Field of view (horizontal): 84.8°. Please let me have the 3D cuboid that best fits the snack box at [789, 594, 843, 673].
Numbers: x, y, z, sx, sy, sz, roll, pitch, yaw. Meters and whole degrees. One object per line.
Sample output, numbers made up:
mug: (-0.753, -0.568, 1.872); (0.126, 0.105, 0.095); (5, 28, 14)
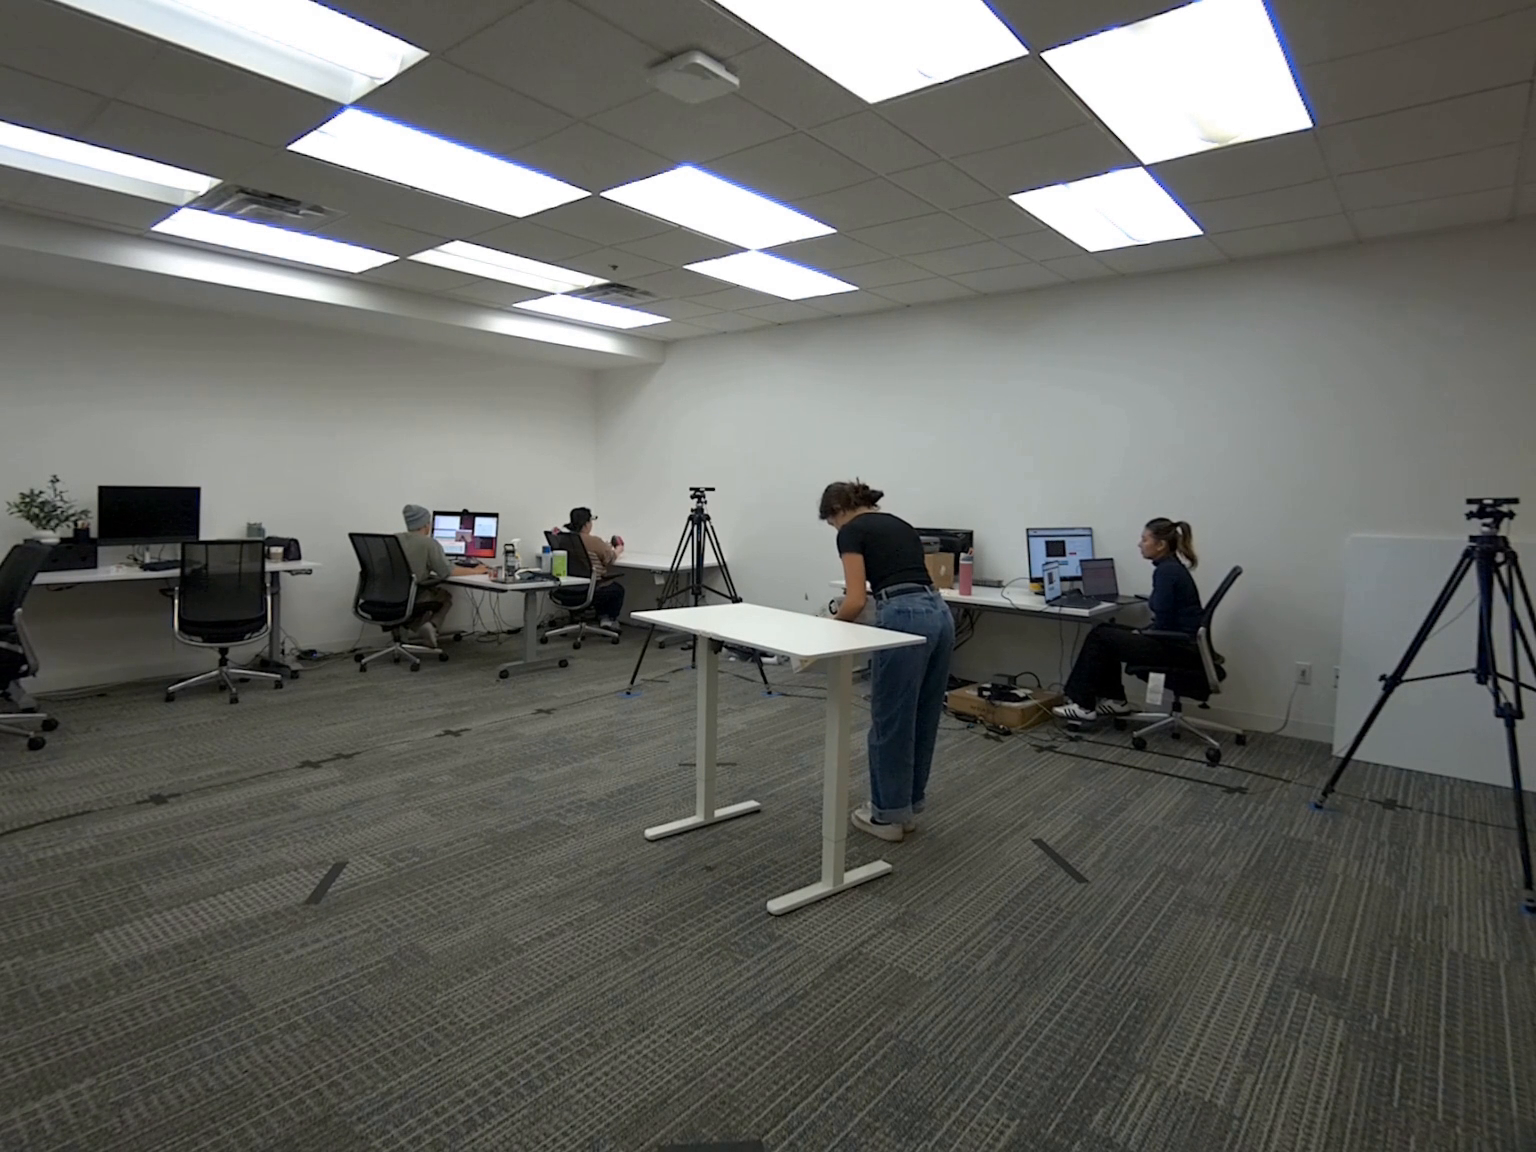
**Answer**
snack box: (0.332, 0.256, 3.798); (0.330, 0.211, 0.406); (1, -26, -33)
